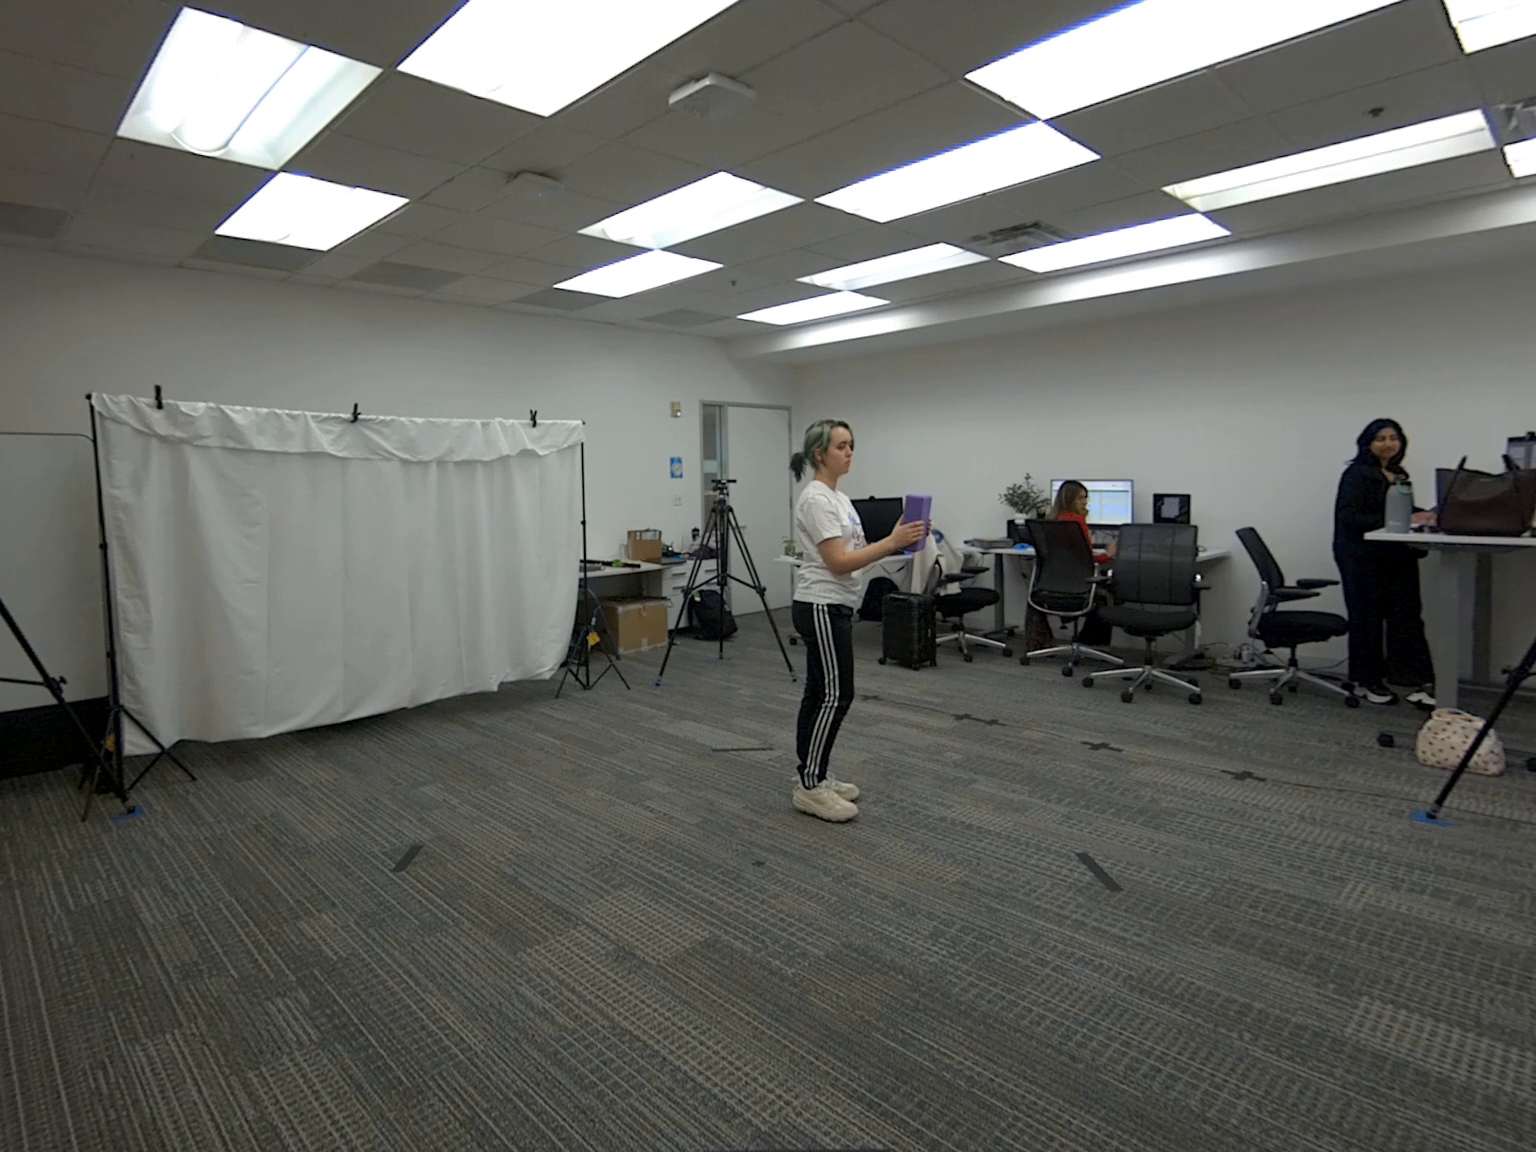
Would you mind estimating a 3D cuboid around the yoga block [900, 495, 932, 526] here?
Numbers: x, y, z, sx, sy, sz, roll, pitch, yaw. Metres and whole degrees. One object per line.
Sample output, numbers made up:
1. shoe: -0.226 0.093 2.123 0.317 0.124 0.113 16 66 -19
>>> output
1. yoga block: 0.606 -0.219 3.511 0.078 0.228 0.146 6 6 25
